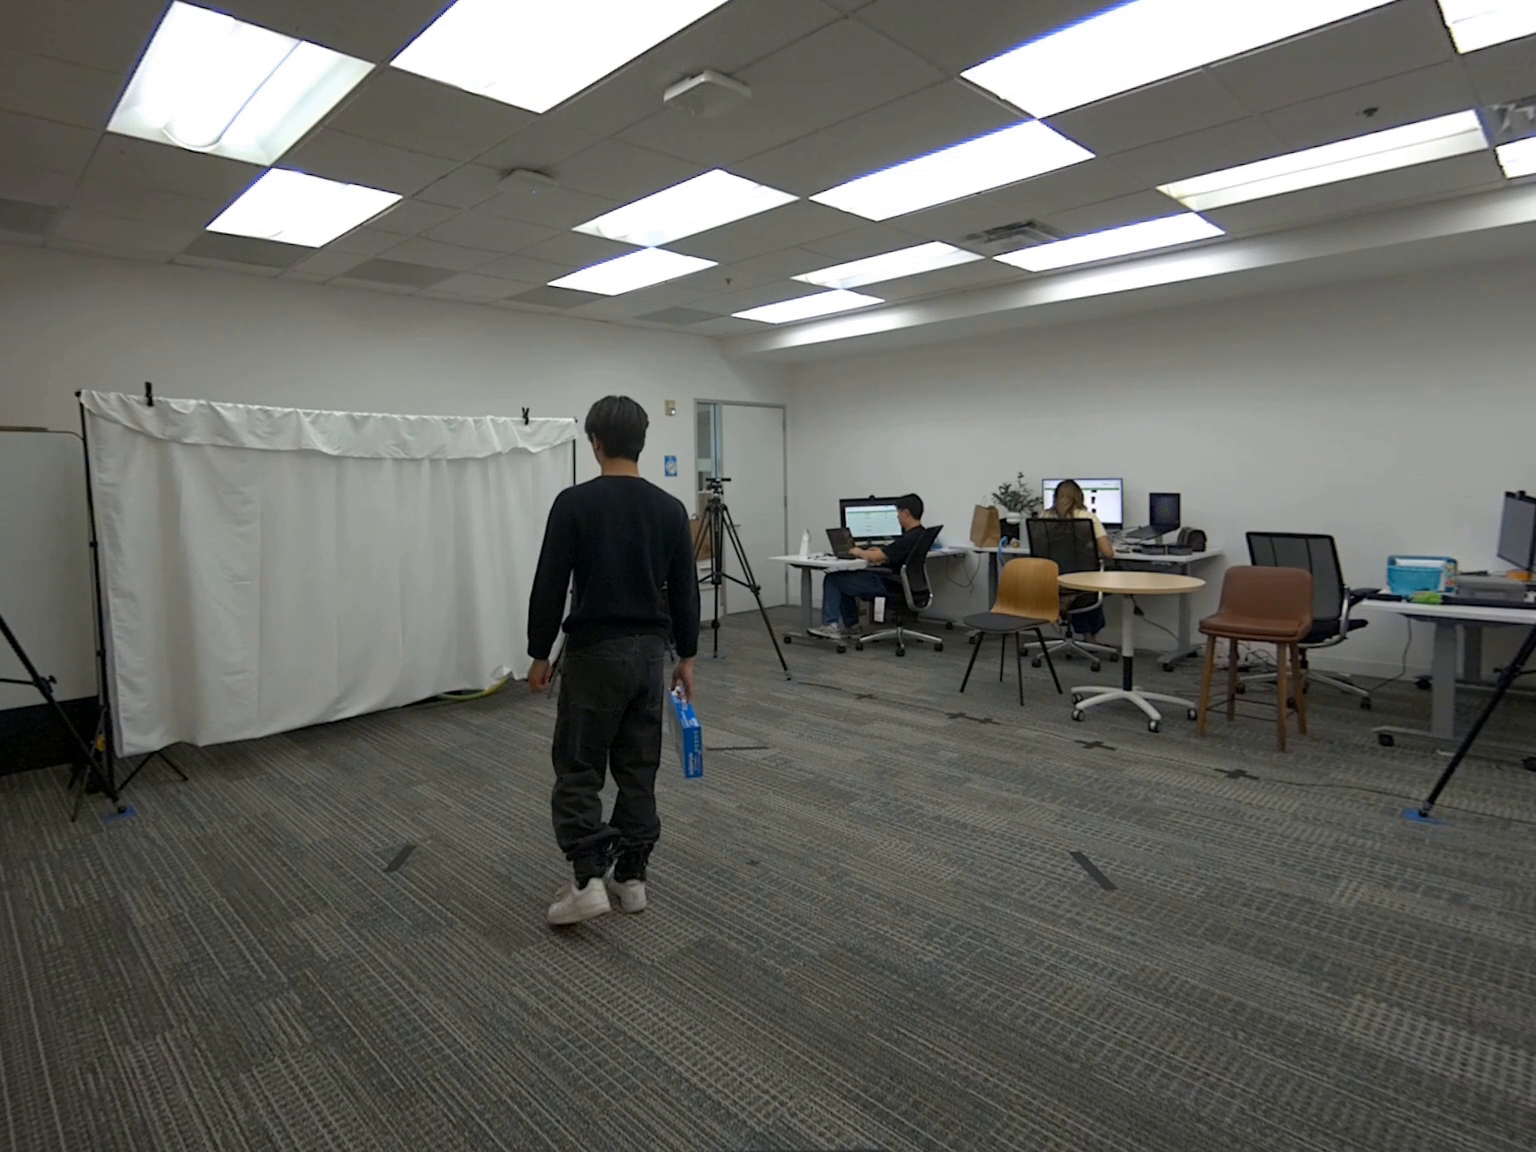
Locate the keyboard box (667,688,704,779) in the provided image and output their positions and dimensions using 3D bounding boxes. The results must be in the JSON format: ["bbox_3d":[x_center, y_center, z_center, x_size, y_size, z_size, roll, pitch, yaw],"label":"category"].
[{"bbox_3d":[-0.294,0.532,2.975,0.058,0.174,0.445,-3,11,-13],"label":"keyboard box"}]
